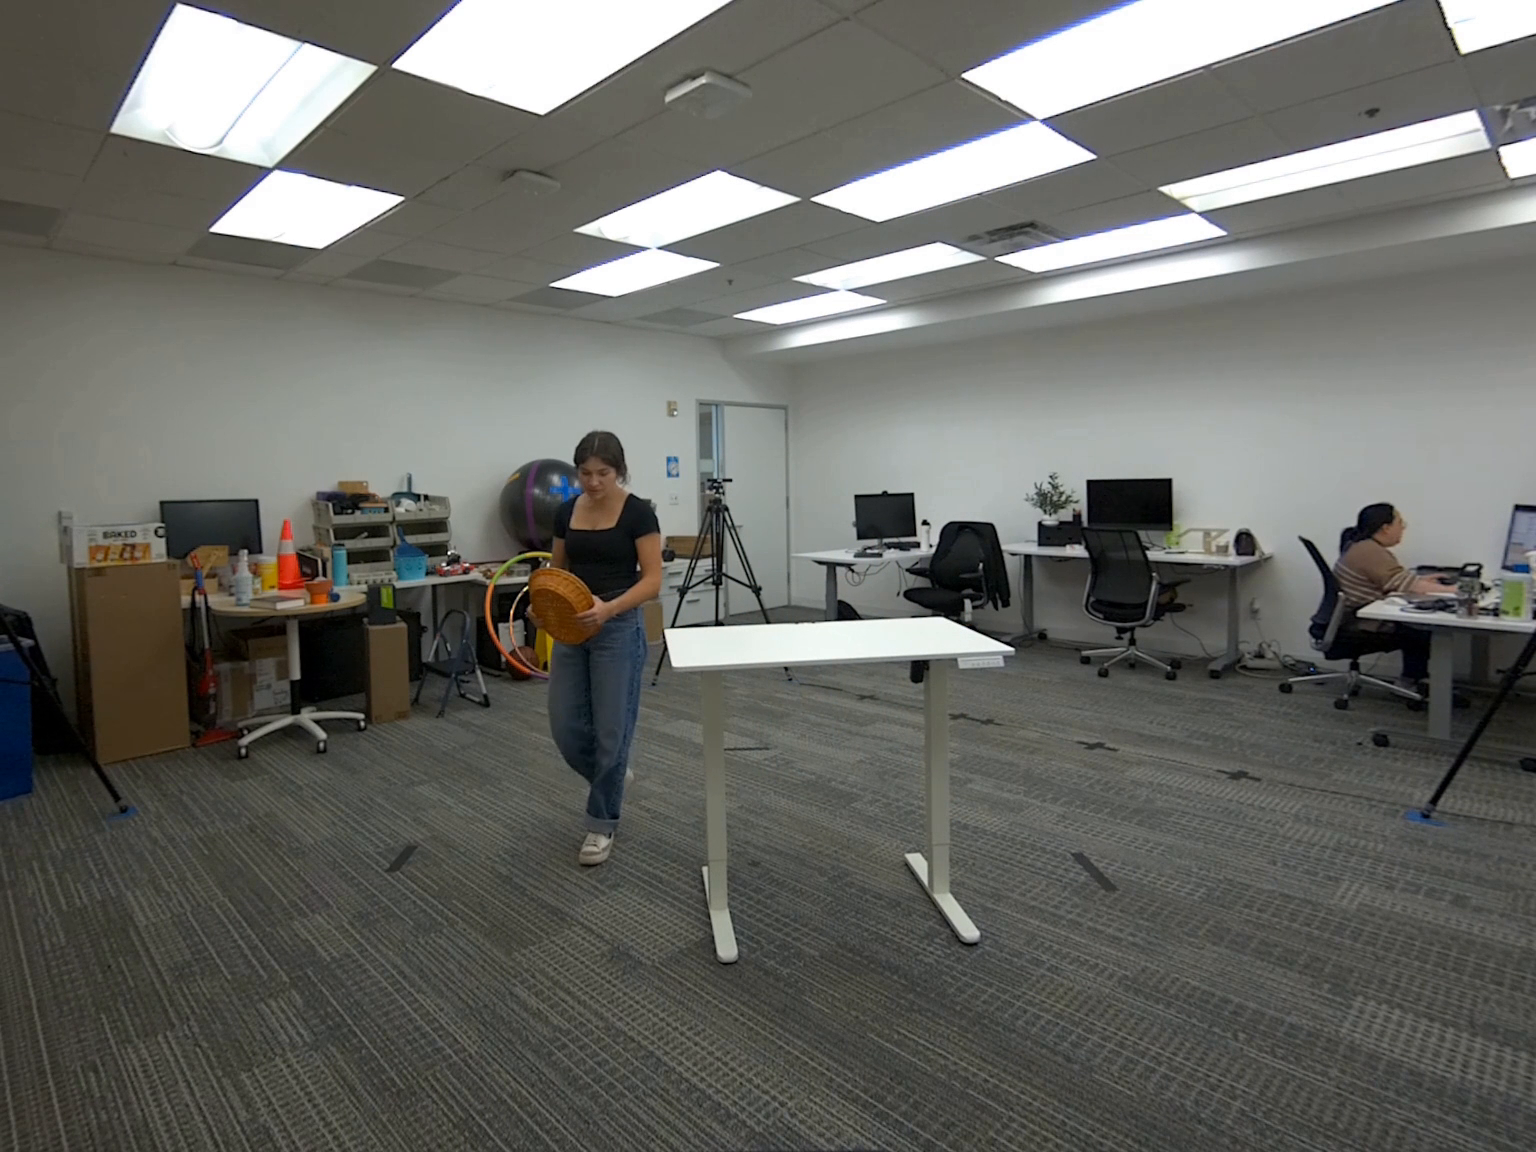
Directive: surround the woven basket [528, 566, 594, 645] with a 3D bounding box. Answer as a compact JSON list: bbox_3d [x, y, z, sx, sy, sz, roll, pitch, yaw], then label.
[{"bbox_3d":[-0.724,0.124,3.001,0.257,0.338,0.074,0,43,20],"label":"woven basket"}]
